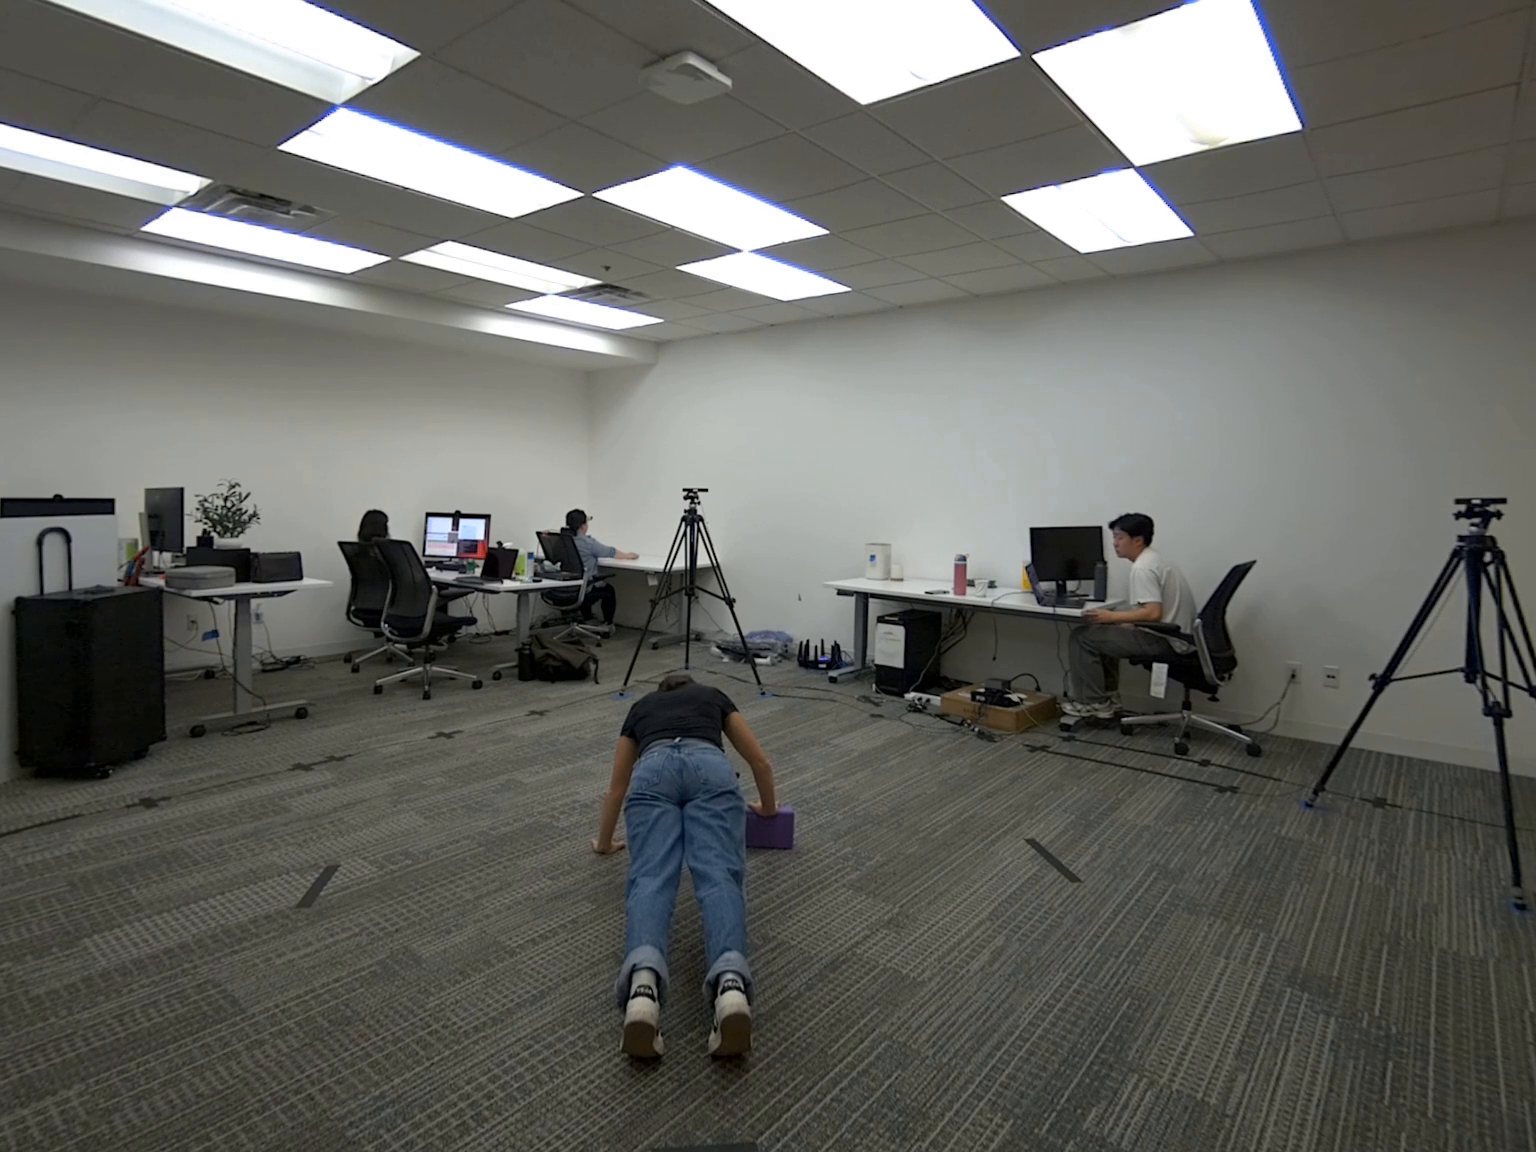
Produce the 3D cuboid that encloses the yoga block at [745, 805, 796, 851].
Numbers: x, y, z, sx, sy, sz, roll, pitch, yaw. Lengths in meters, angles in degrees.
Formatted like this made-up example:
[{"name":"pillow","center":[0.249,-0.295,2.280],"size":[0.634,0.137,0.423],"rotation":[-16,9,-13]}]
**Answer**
[{"name":"yoga block","center":[-0.008,0.975,3.328],"size":[0.229,0.149,0.076],"rotation":[0,2,0]}]
